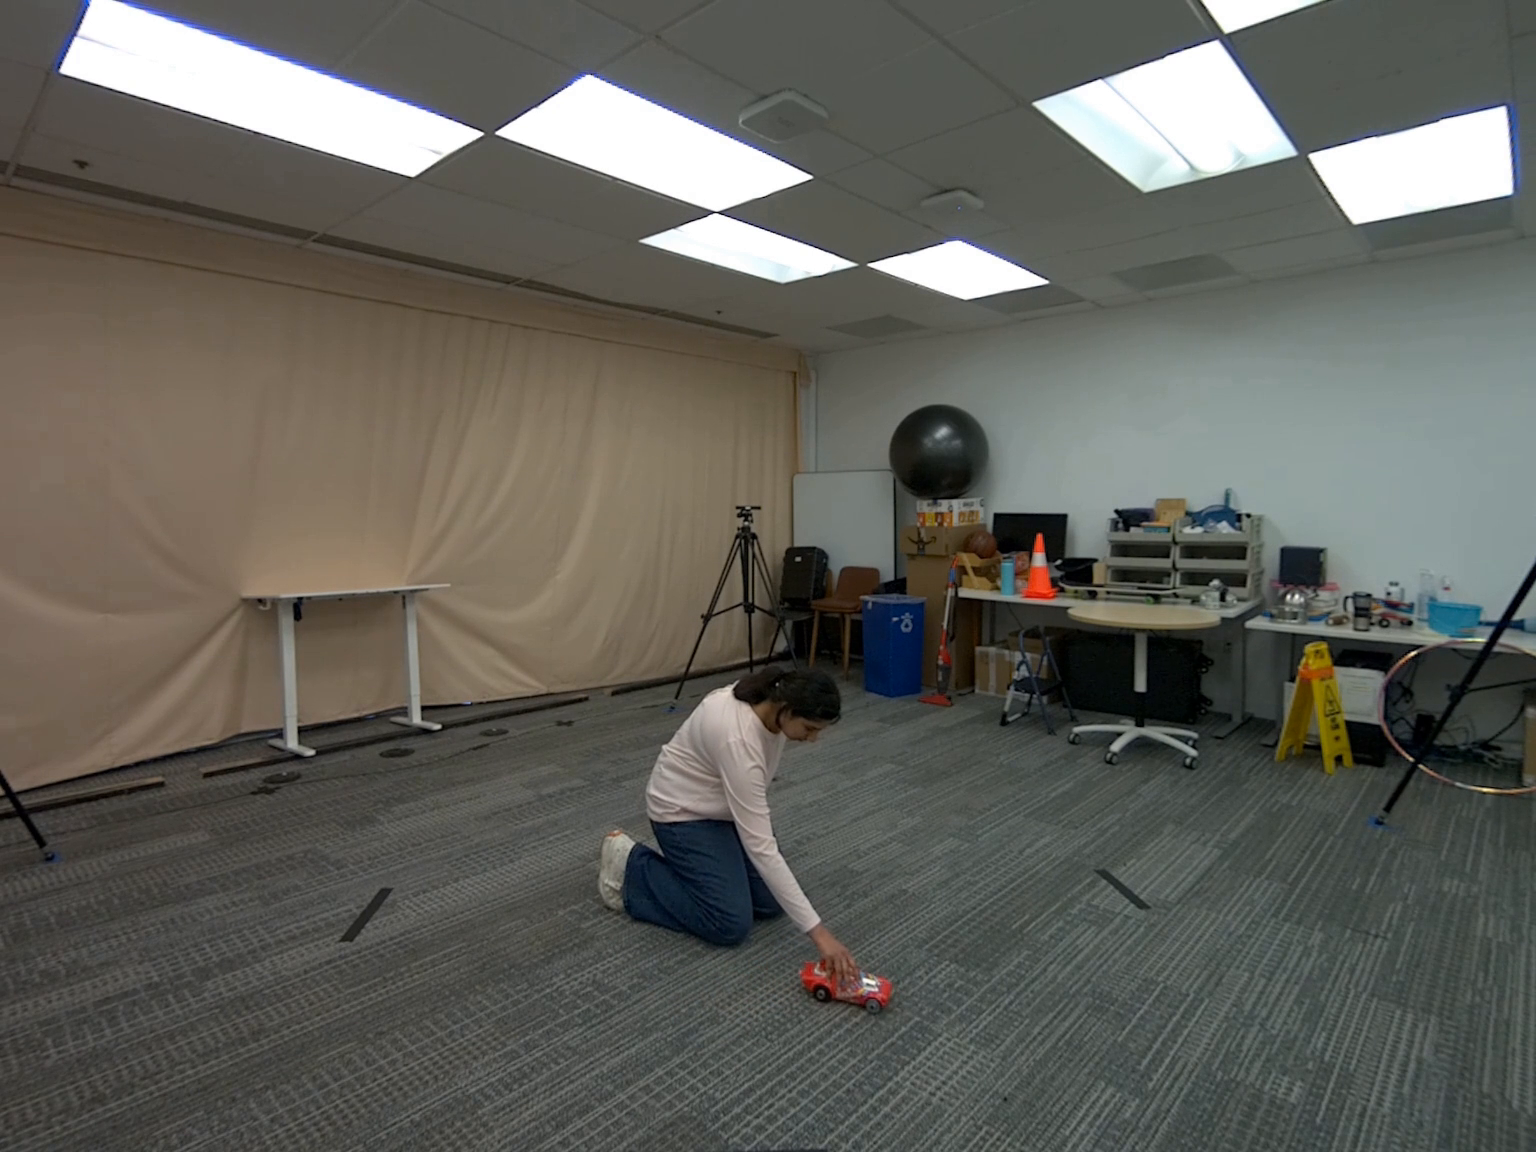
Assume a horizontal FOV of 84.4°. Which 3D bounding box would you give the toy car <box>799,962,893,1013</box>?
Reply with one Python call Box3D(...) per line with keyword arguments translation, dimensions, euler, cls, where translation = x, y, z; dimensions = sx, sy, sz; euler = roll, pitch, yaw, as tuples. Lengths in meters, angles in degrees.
Box3D(translation=(0.223, 1.168, 2.386), dimensions=(0.260, 0.083, 0.128), euler=(13, 8, 20), cls="toy car")
